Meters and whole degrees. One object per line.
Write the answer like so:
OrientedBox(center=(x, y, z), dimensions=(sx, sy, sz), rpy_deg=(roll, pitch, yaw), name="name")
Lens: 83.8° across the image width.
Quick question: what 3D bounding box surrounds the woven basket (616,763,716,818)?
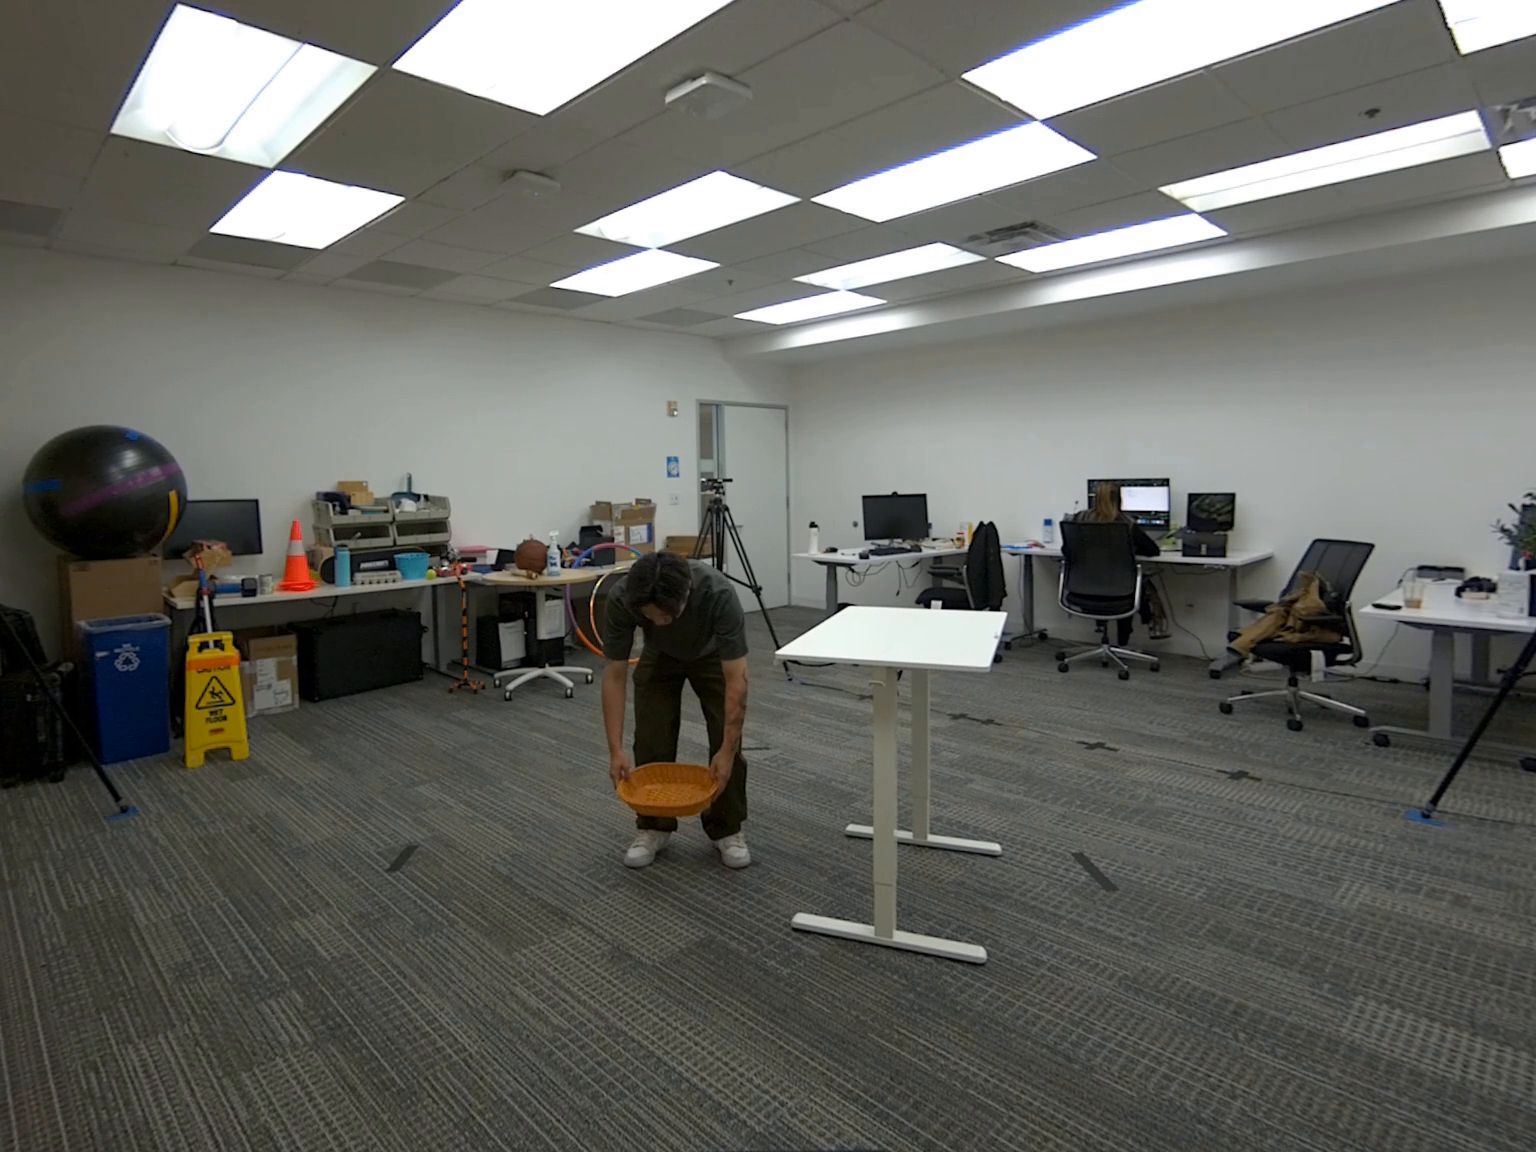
OrientedBox(center=(-0.346, 0.723, 2.839), dimensions=(0.357, 0.072, 0.251), rpy_deg=(1, 19, 21), name="woven basket")
